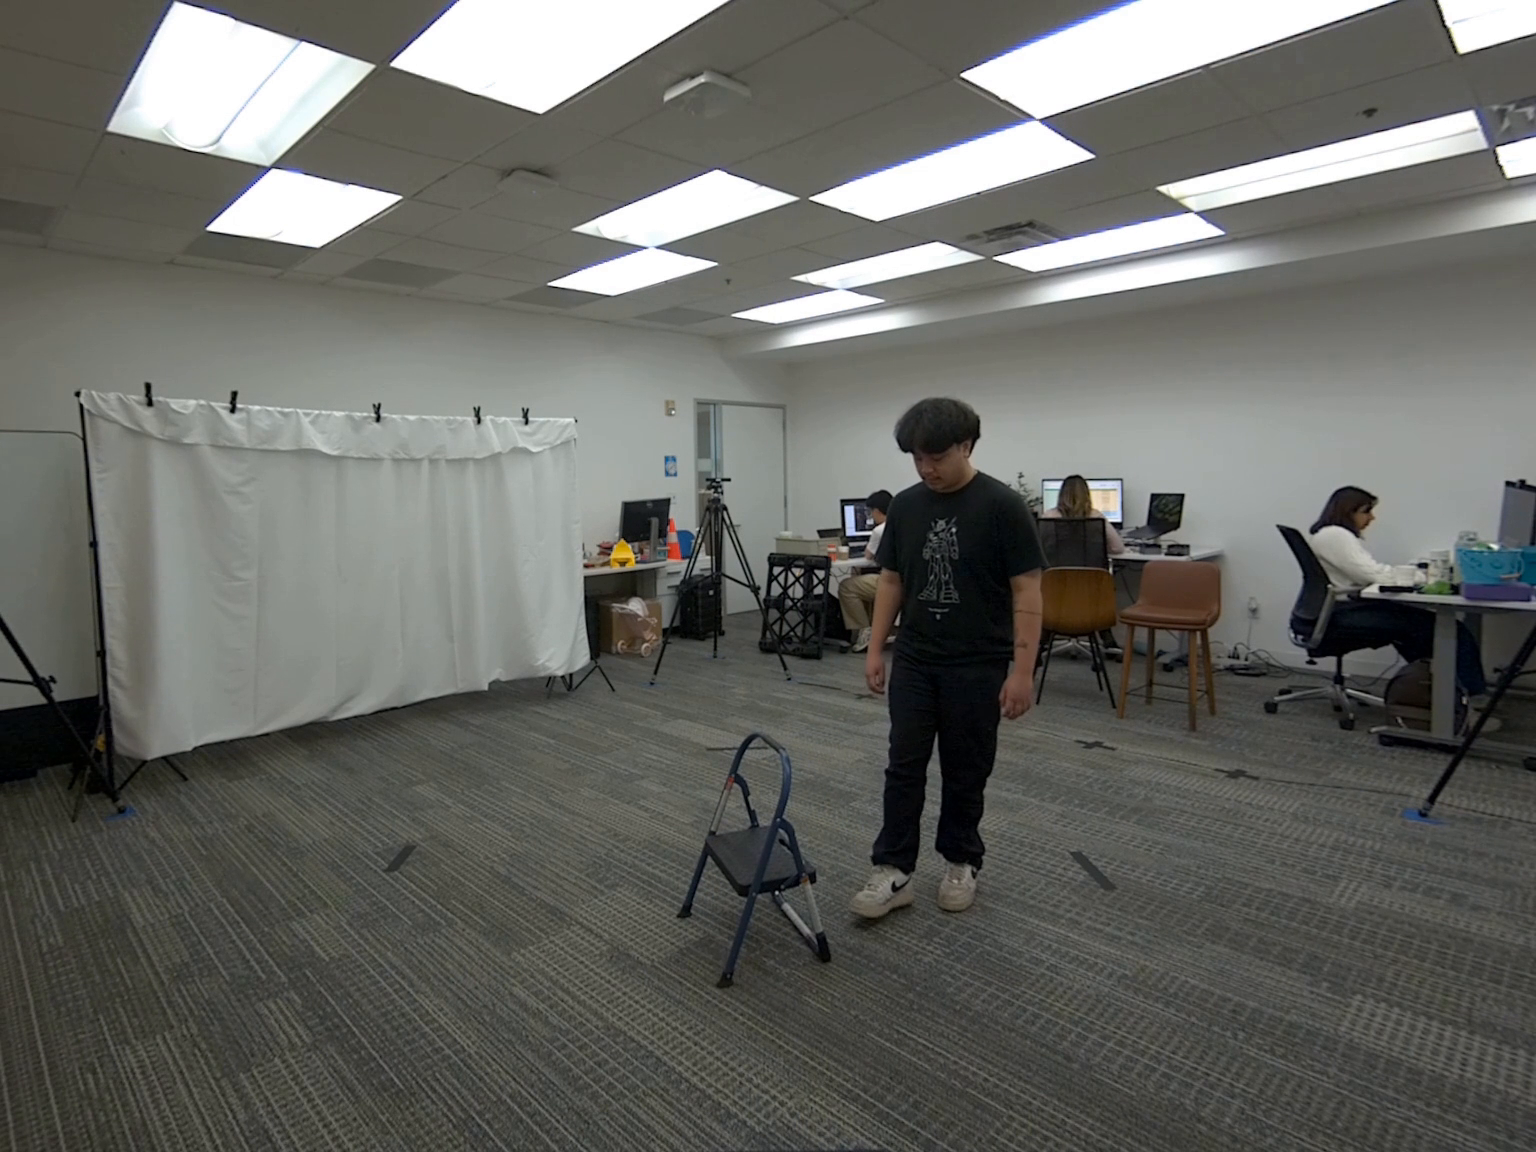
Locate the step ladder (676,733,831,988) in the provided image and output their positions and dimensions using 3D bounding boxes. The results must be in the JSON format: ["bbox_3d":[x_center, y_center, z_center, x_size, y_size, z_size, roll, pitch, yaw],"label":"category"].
[{"bbox_3d":[-0.051,0.799,2.581,0.343,0.603,0.440,-3,6,-21],"label":"step ladder"}]
